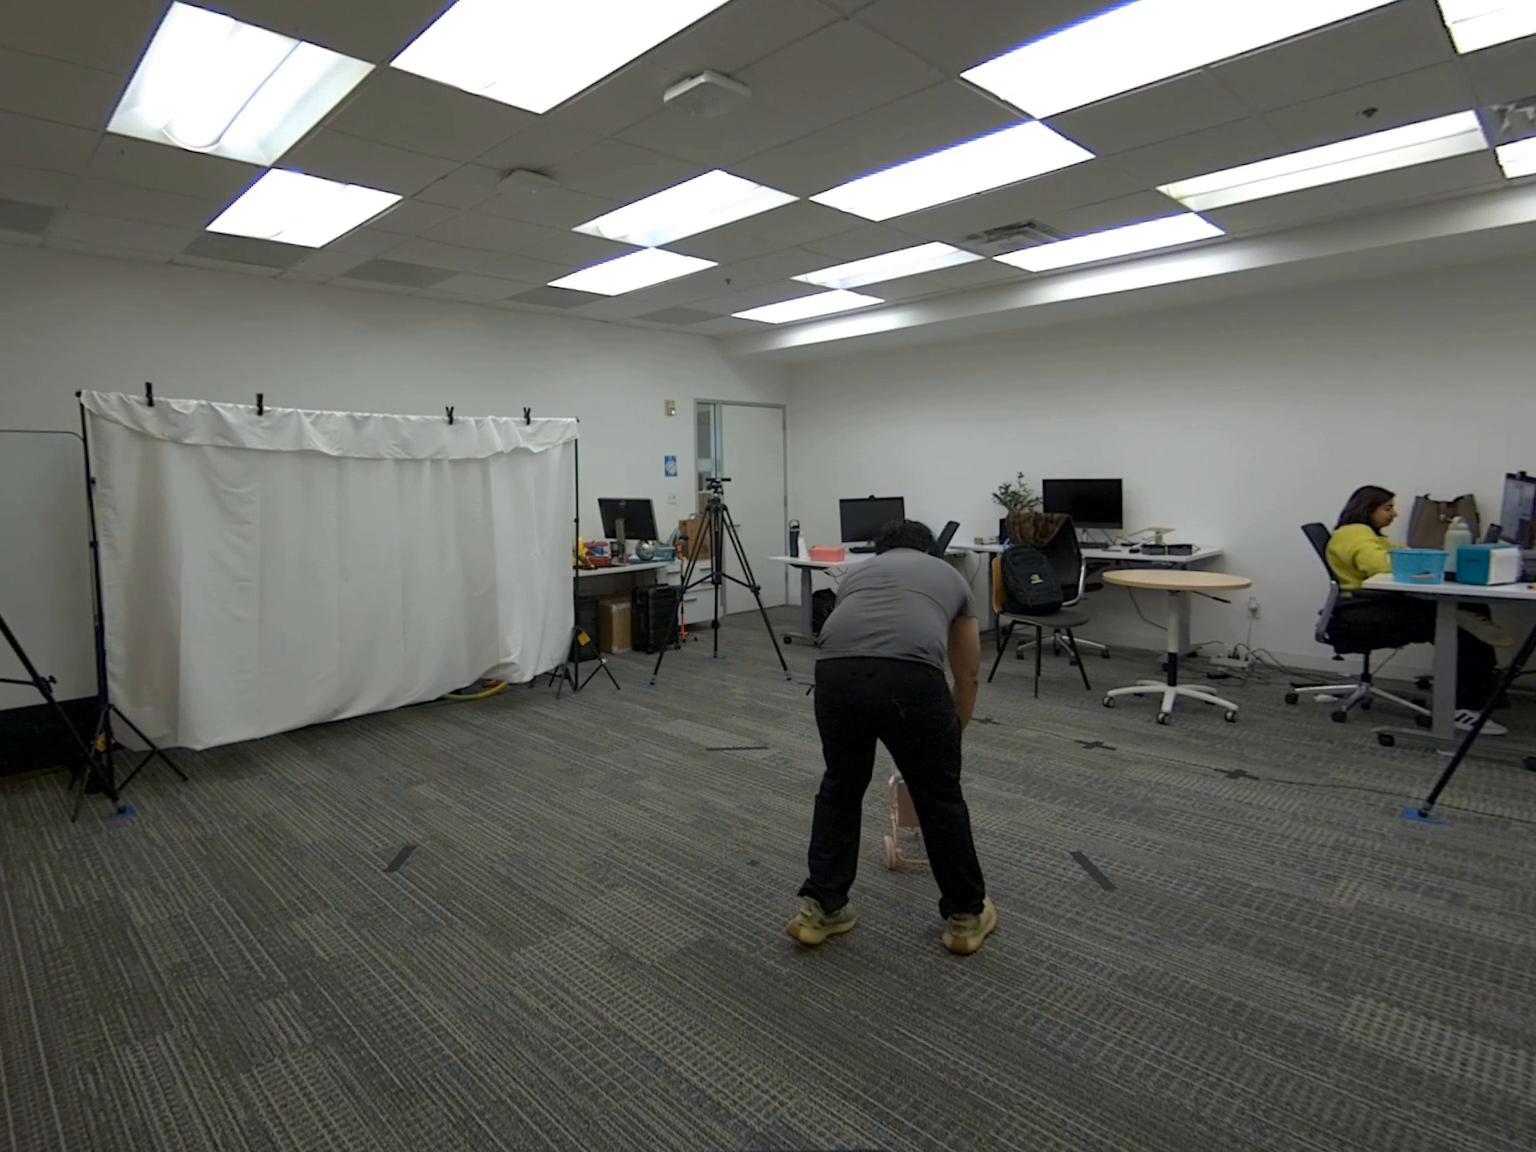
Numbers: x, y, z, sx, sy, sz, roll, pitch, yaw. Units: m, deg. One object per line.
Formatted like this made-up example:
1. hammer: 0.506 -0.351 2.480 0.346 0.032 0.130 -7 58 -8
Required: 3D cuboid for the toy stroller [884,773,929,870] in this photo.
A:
1. toy stroller: 0.566 0.816 3.079 0.283 0.524 0.346 0 23 7
